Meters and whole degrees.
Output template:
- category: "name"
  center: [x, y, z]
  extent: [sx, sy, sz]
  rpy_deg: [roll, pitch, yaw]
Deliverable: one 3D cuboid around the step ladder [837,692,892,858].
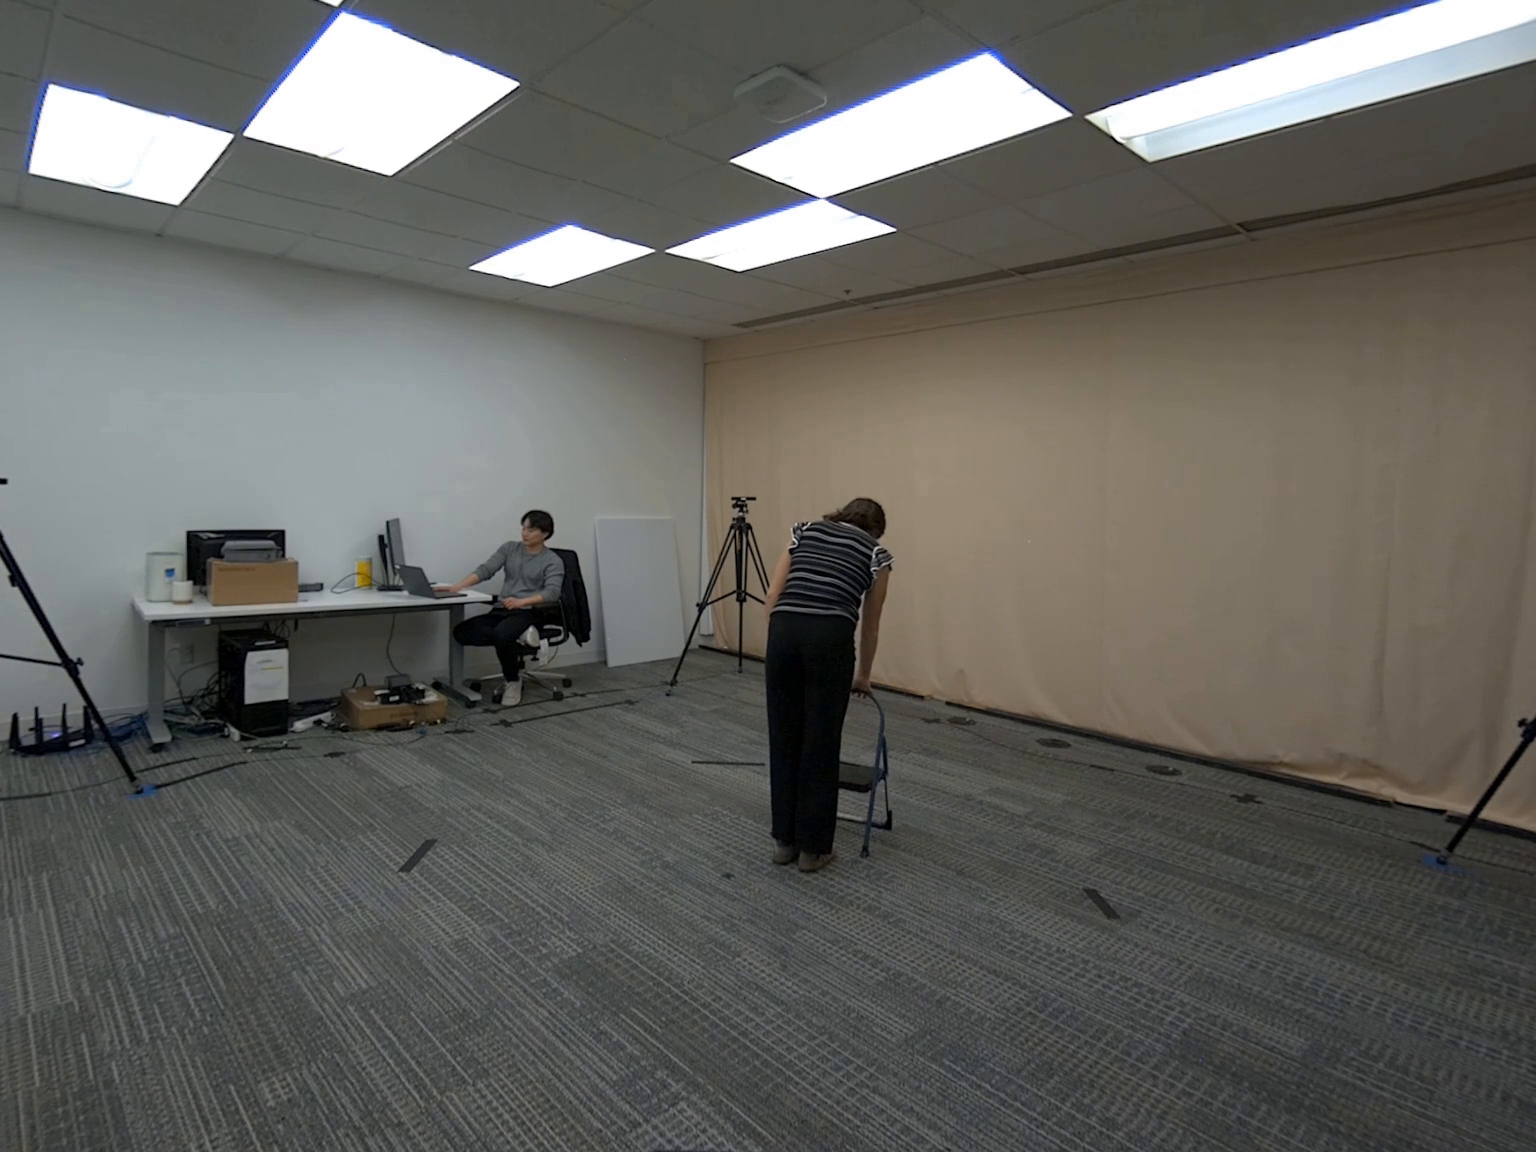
- category: "step ladder"
  center: [0.278, 0.779, 3.538]
  extent: [0.440, 0.605, 0.343]
  rpy_deg: [3, 3, 28]
